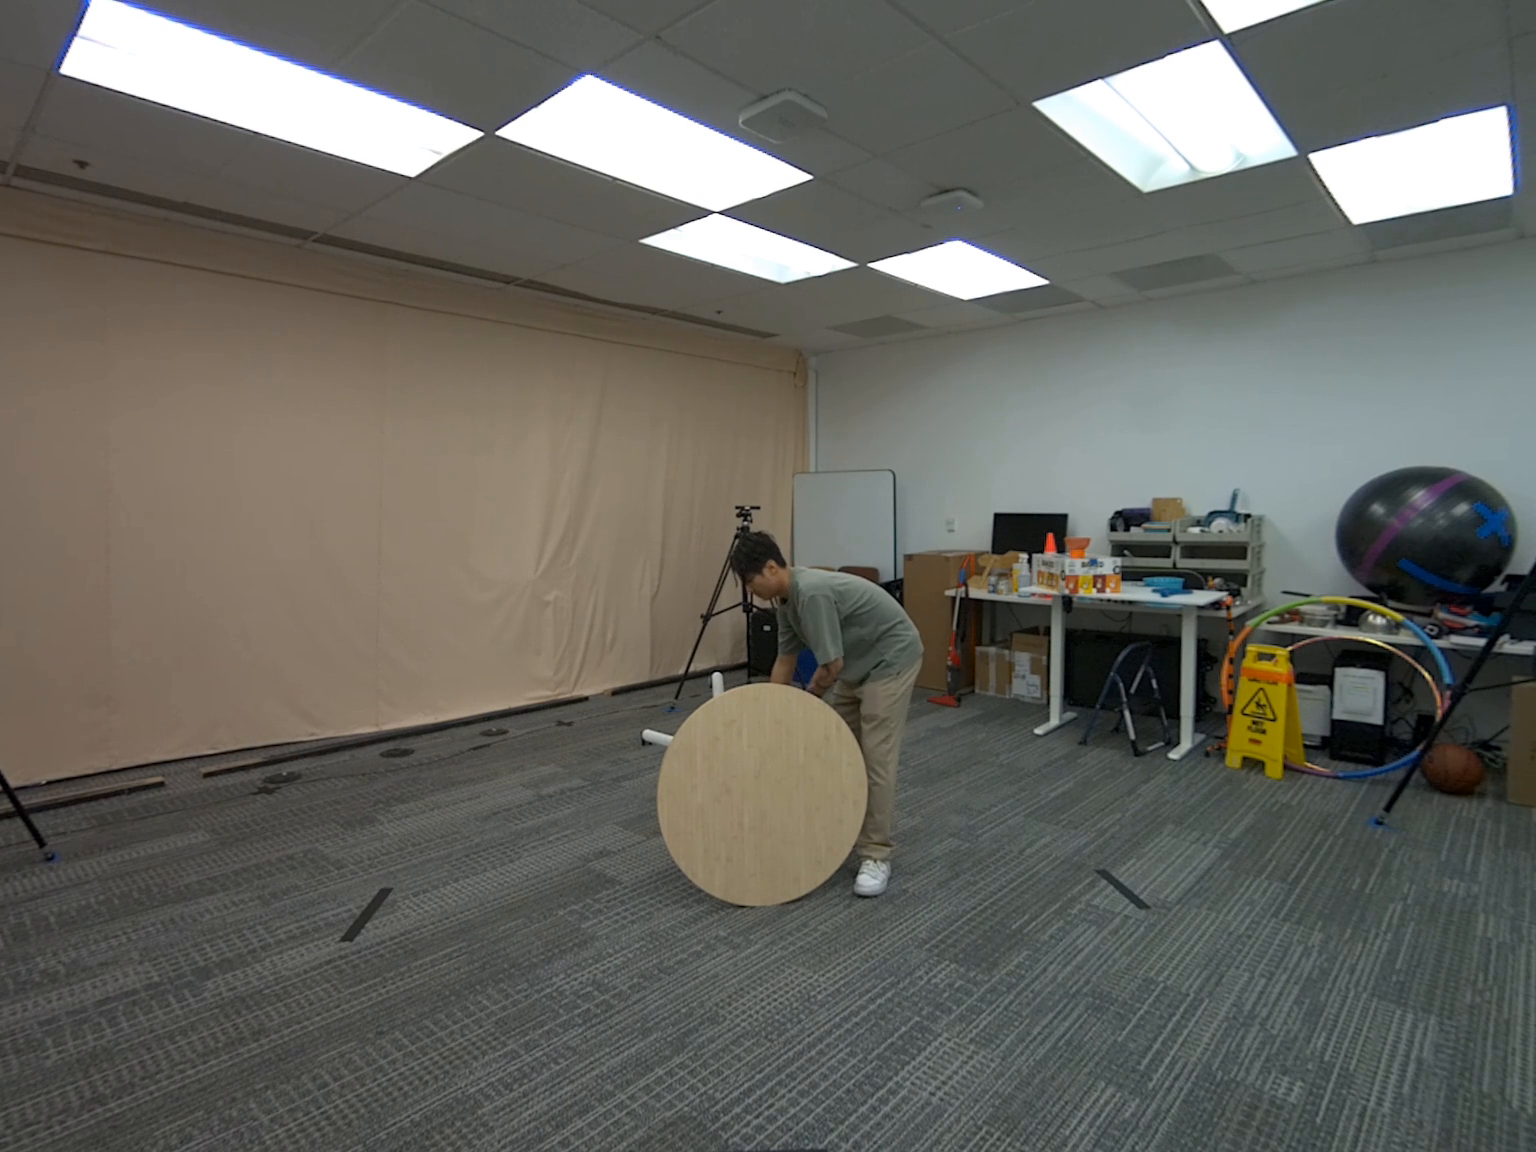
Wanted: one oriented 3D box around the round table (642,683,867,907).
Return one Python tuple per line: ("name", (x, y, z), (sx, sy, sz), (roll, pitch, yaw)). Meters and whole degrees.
("round table", (-0.109, 0.775, 3.336), (0.774, 0.786, 0.797), (-1, -2, -15))
